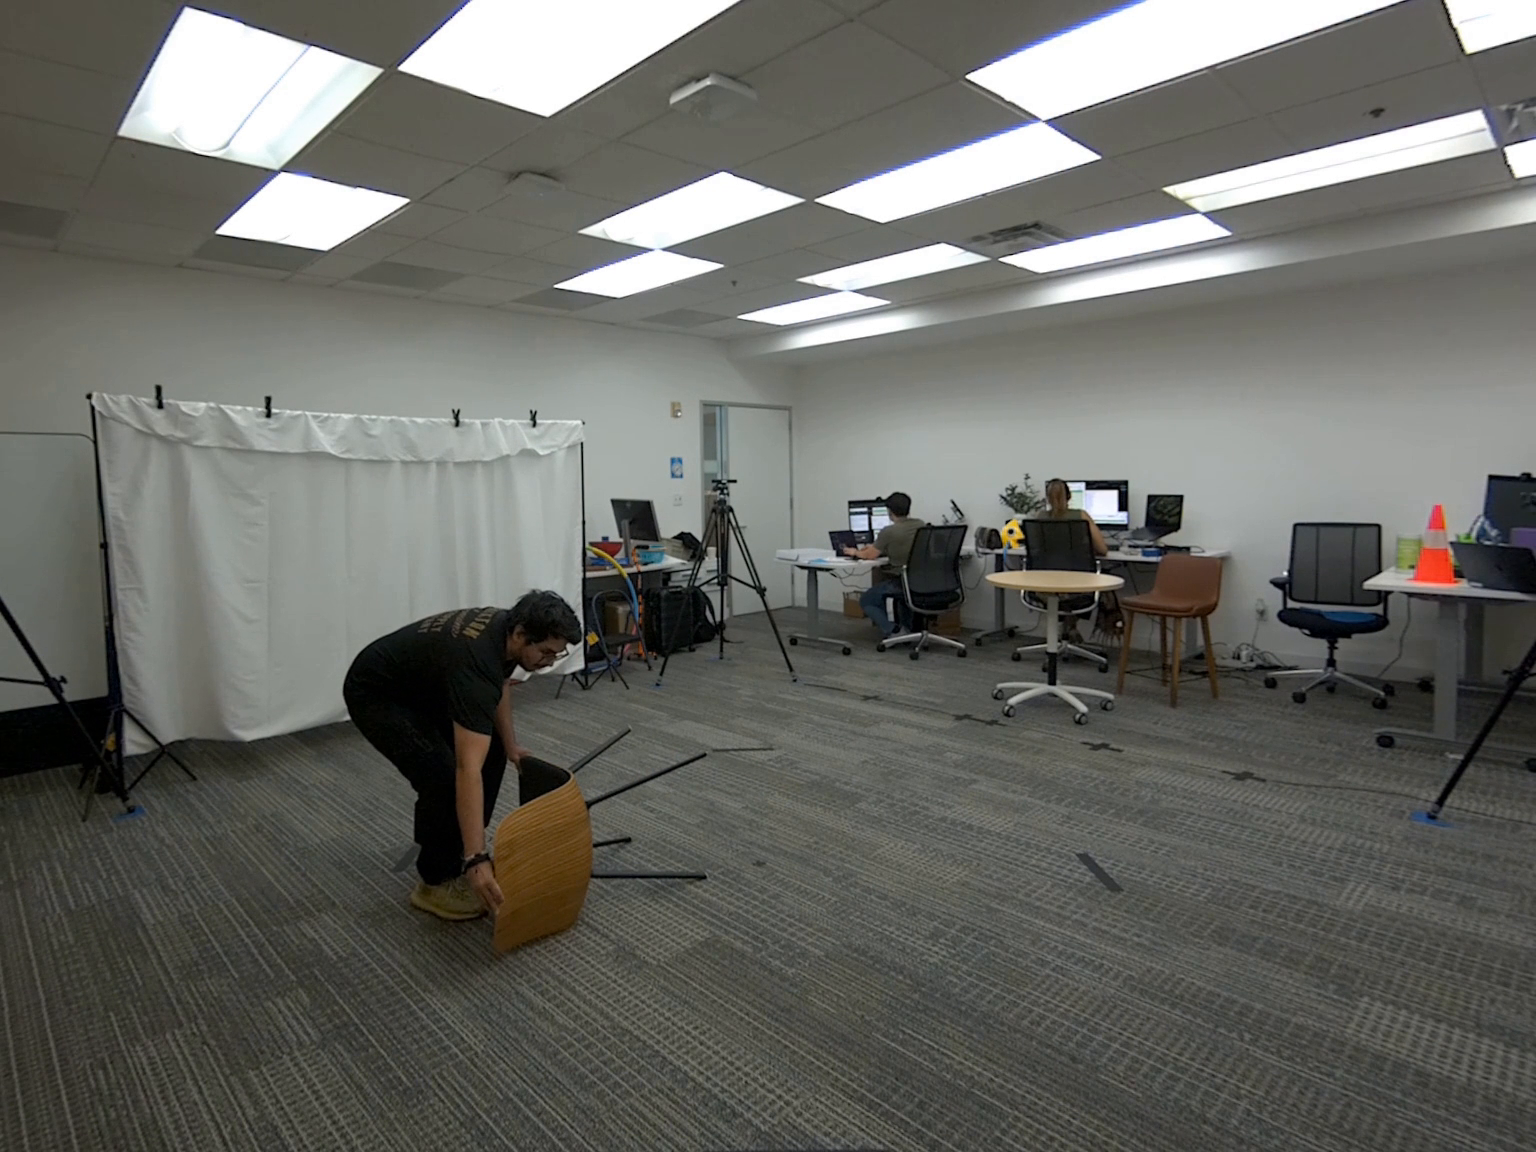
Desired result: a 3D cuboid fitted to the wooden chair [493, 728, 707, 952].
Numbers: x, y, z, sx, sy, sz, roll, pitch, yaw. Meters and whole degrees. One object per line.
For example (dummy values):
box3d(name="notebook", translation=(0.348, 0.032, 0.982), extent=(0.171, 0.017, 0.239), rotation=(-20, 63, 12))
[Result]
box3d(name="wooden chair", translation=(-0.678, 0.855, 2.865), extent=(0.539, 0.476, 0.855), rotation=(4, 8, 40))
